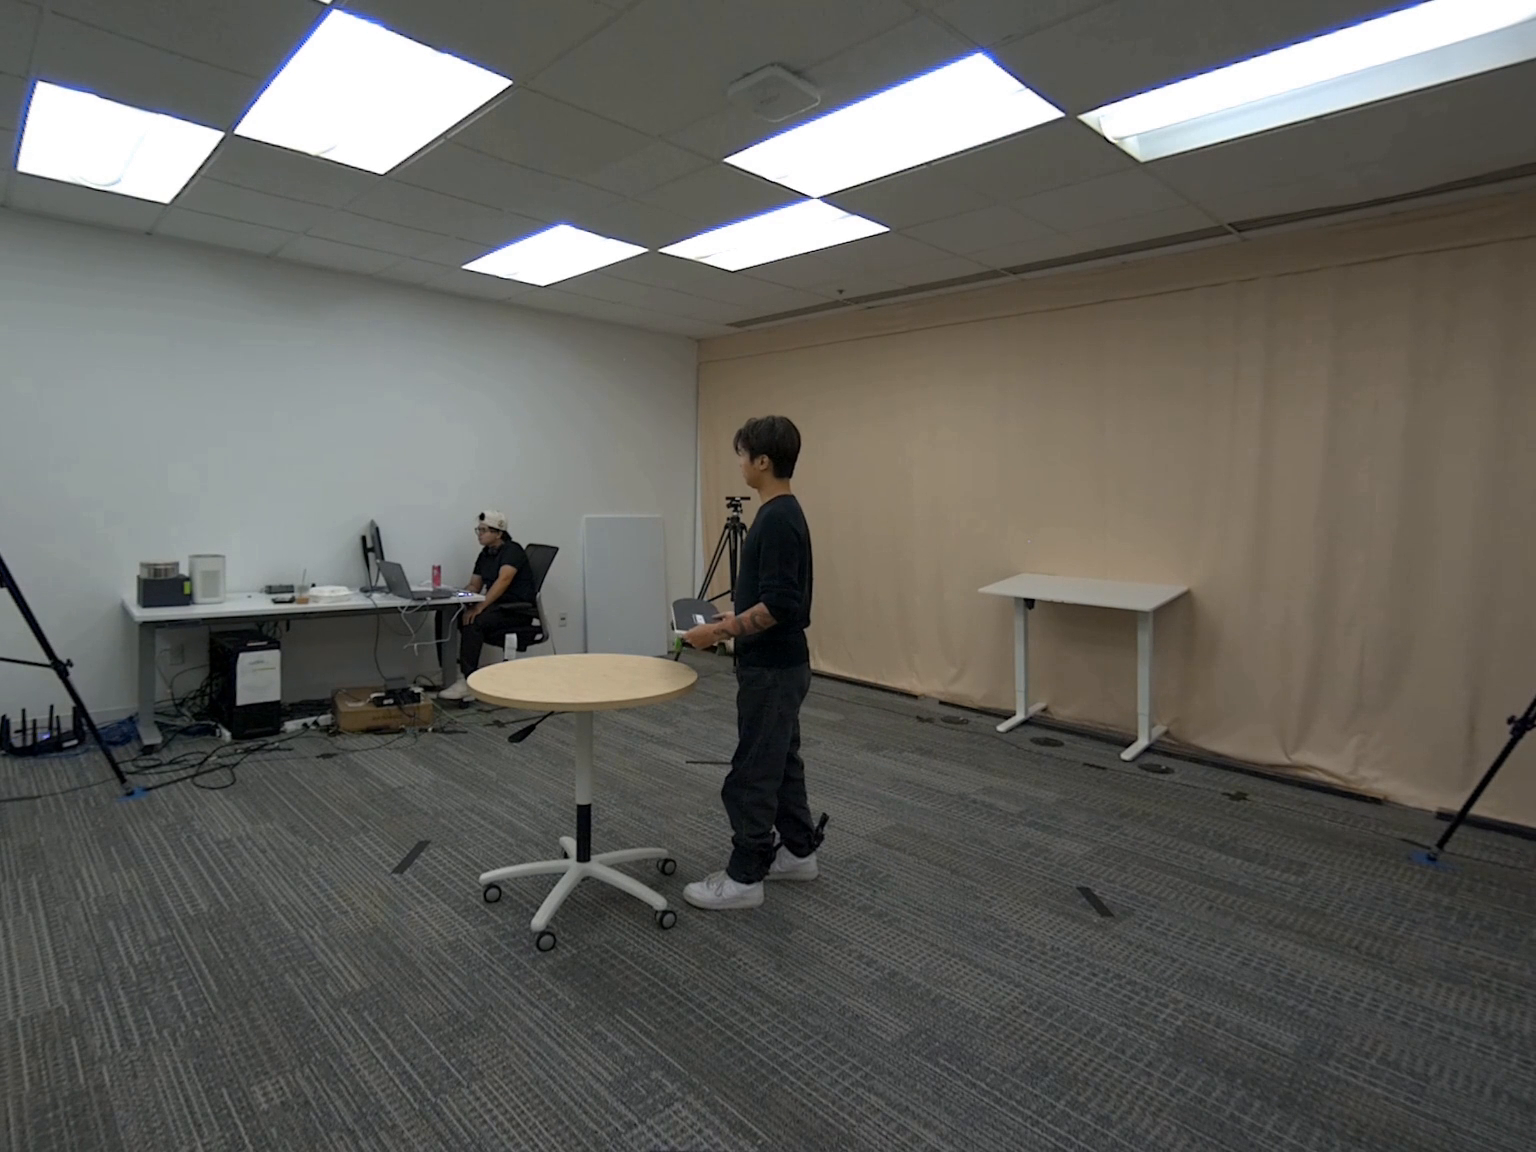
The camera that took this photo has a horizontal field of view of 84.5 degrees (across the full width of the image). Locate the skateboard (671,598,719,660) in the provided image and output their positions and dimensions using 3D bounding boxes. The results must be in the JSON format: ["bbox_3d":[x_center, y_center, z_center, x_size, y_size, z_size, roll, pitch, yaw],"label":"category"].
[{"bbox_3d":[-0.265,0.203,3.152,0.192,0.110,0.793,4,6,-9],"label":"skateboard"}]
